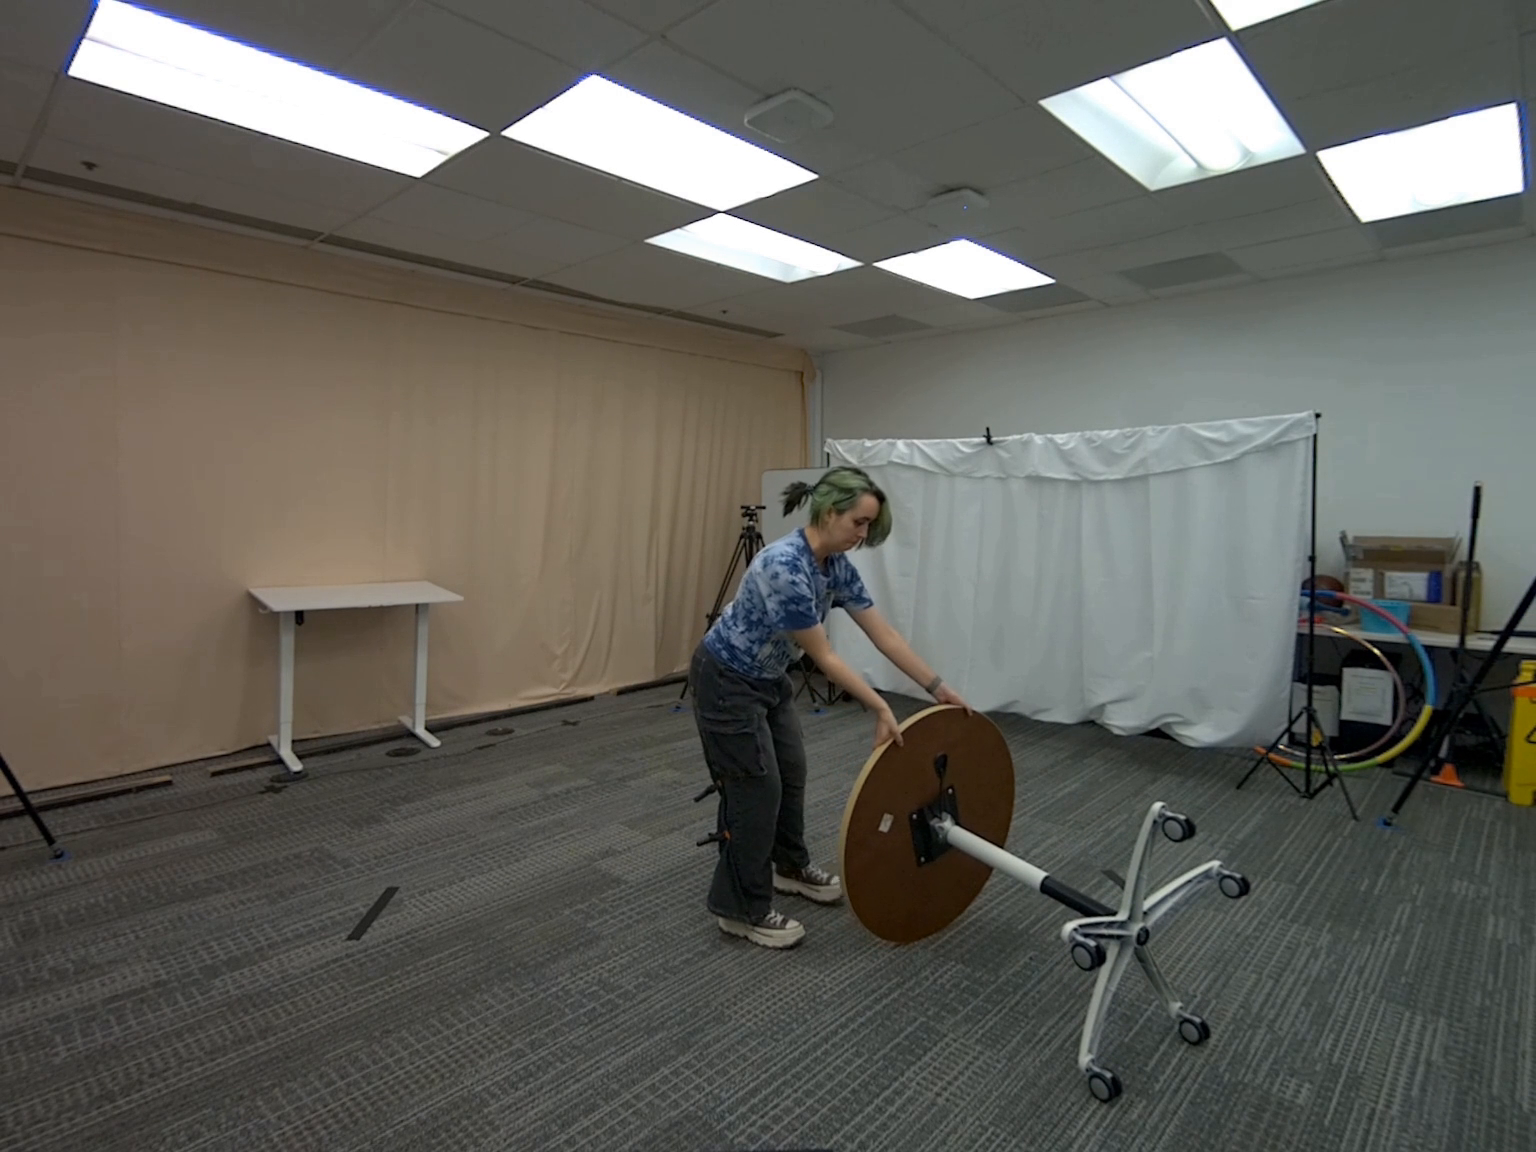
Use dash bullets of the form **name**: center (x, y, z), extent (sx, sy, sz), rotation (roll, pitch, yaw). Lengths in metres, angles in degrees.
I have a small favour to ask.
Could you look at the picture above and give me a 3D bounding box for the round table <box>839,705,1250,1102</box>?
- **round table**: center (0.745, 0.856, 2.346), extent (0.742, 0.760, 0.821), rotation (-2, 10, -35)
